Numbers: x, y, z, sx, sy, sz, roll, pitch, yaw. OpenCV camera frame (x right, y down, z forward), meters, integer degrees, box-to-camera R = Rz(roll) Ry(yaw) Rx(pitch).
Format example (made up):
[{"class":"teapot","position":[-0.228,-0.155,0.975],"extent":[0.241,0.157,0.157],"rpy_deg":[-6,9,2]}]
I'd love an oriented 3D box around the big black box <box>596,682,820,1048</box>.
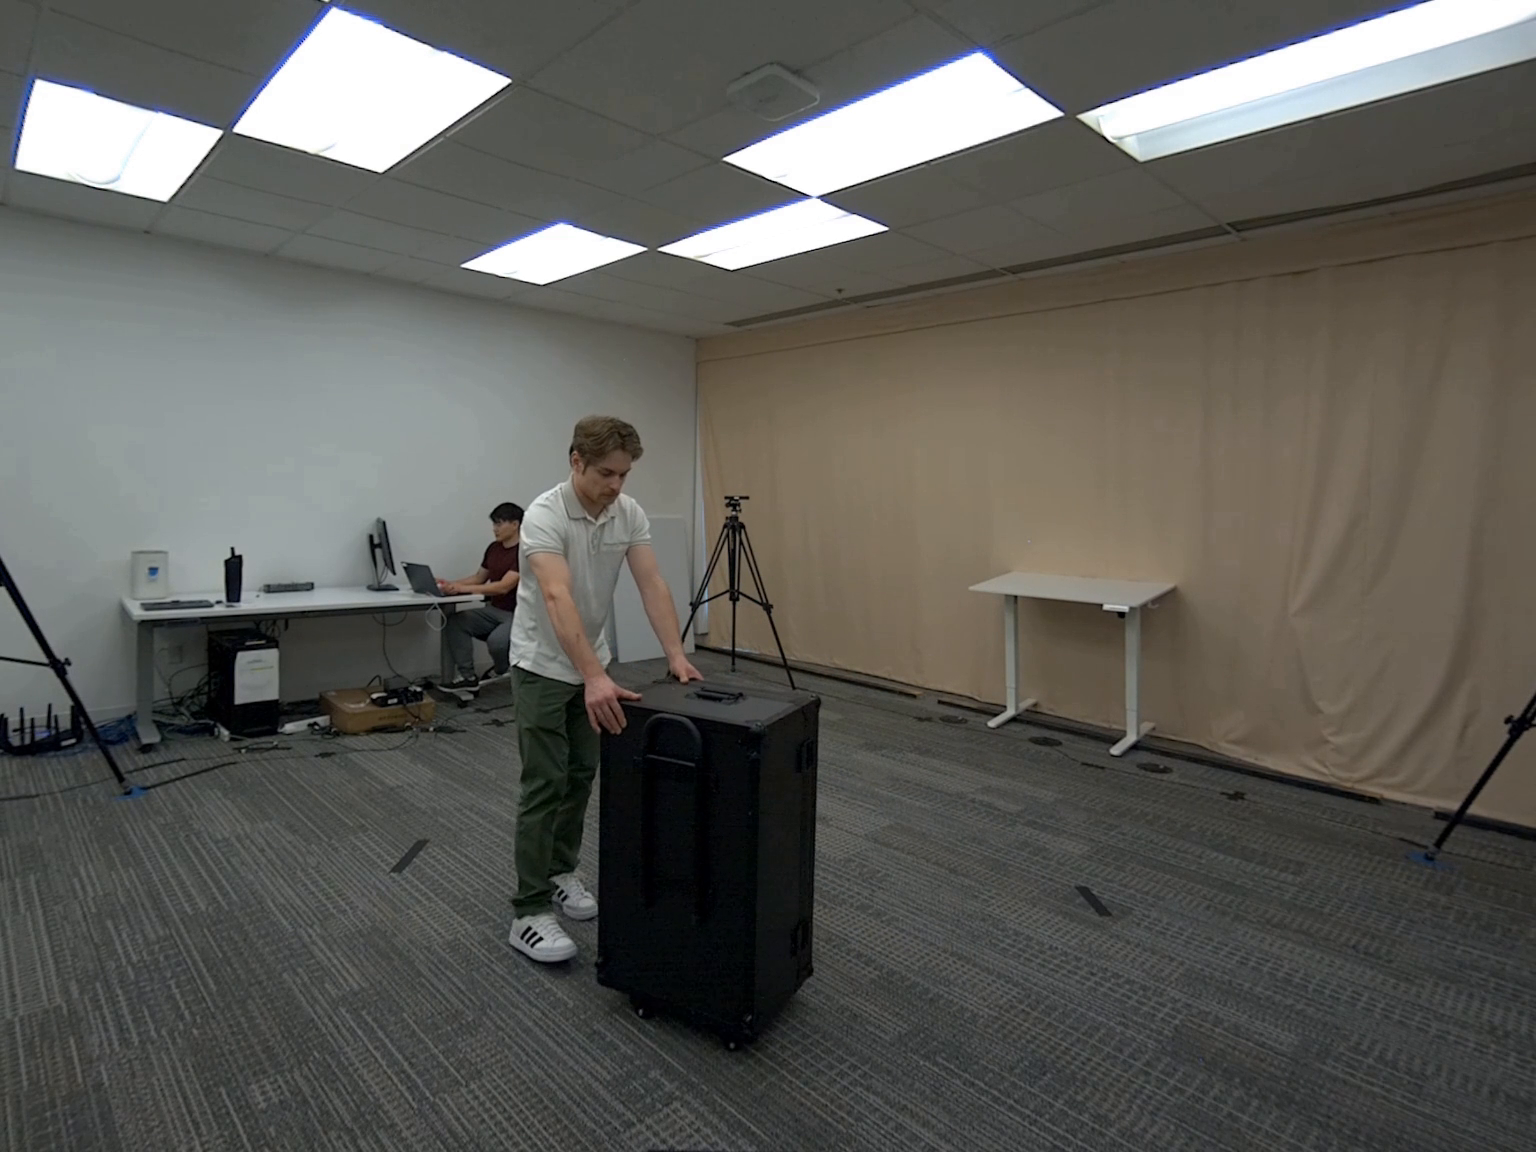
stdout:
[{"class":"big black box","position":[-0.158,0.760,2.271],"extent":[0.534,0.866,0.378],"rpy_deg":[3,4,28]}]
